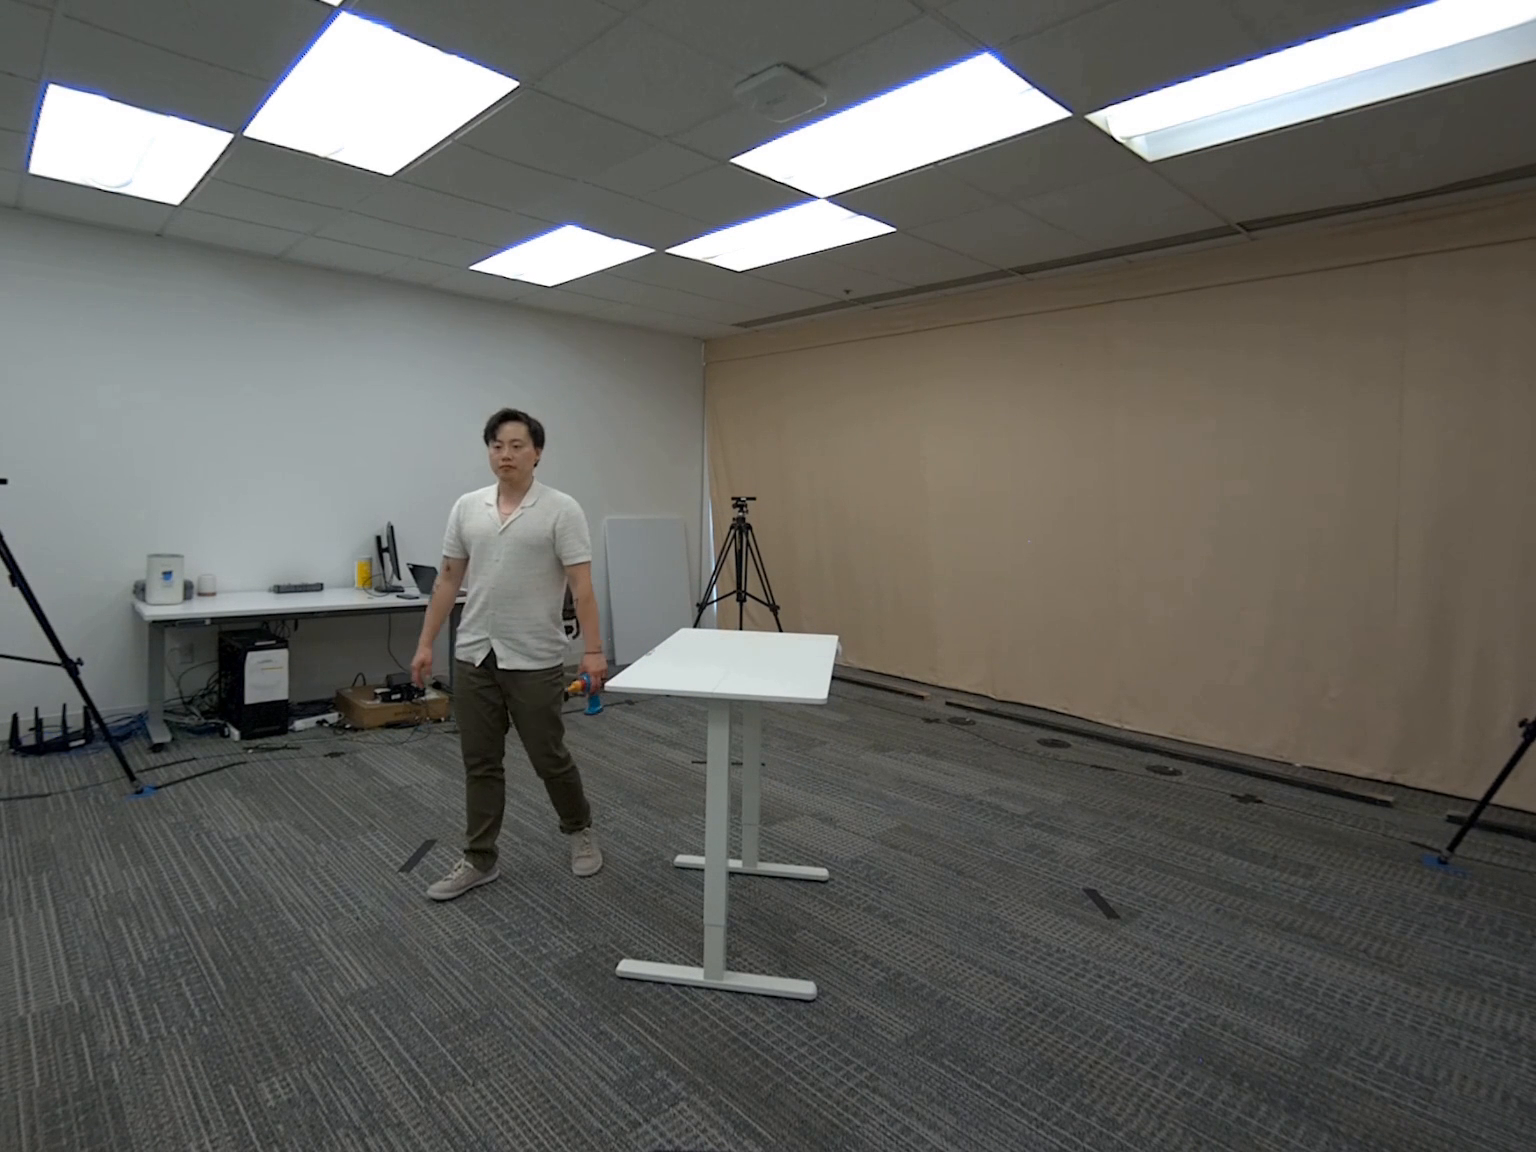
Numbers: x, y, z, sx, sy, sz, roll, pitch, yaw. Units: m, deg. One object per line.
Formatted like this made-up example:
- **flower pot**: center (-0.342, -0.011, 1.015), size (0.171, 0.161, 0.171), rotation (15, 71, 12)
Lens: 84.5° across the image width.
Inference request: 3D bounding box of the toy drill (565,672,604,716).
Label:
- **toy drill**: center (-0.636, 0.403, 2.870), size (0.062, 0.145, 0.167), rotation (0, 6, 30)
